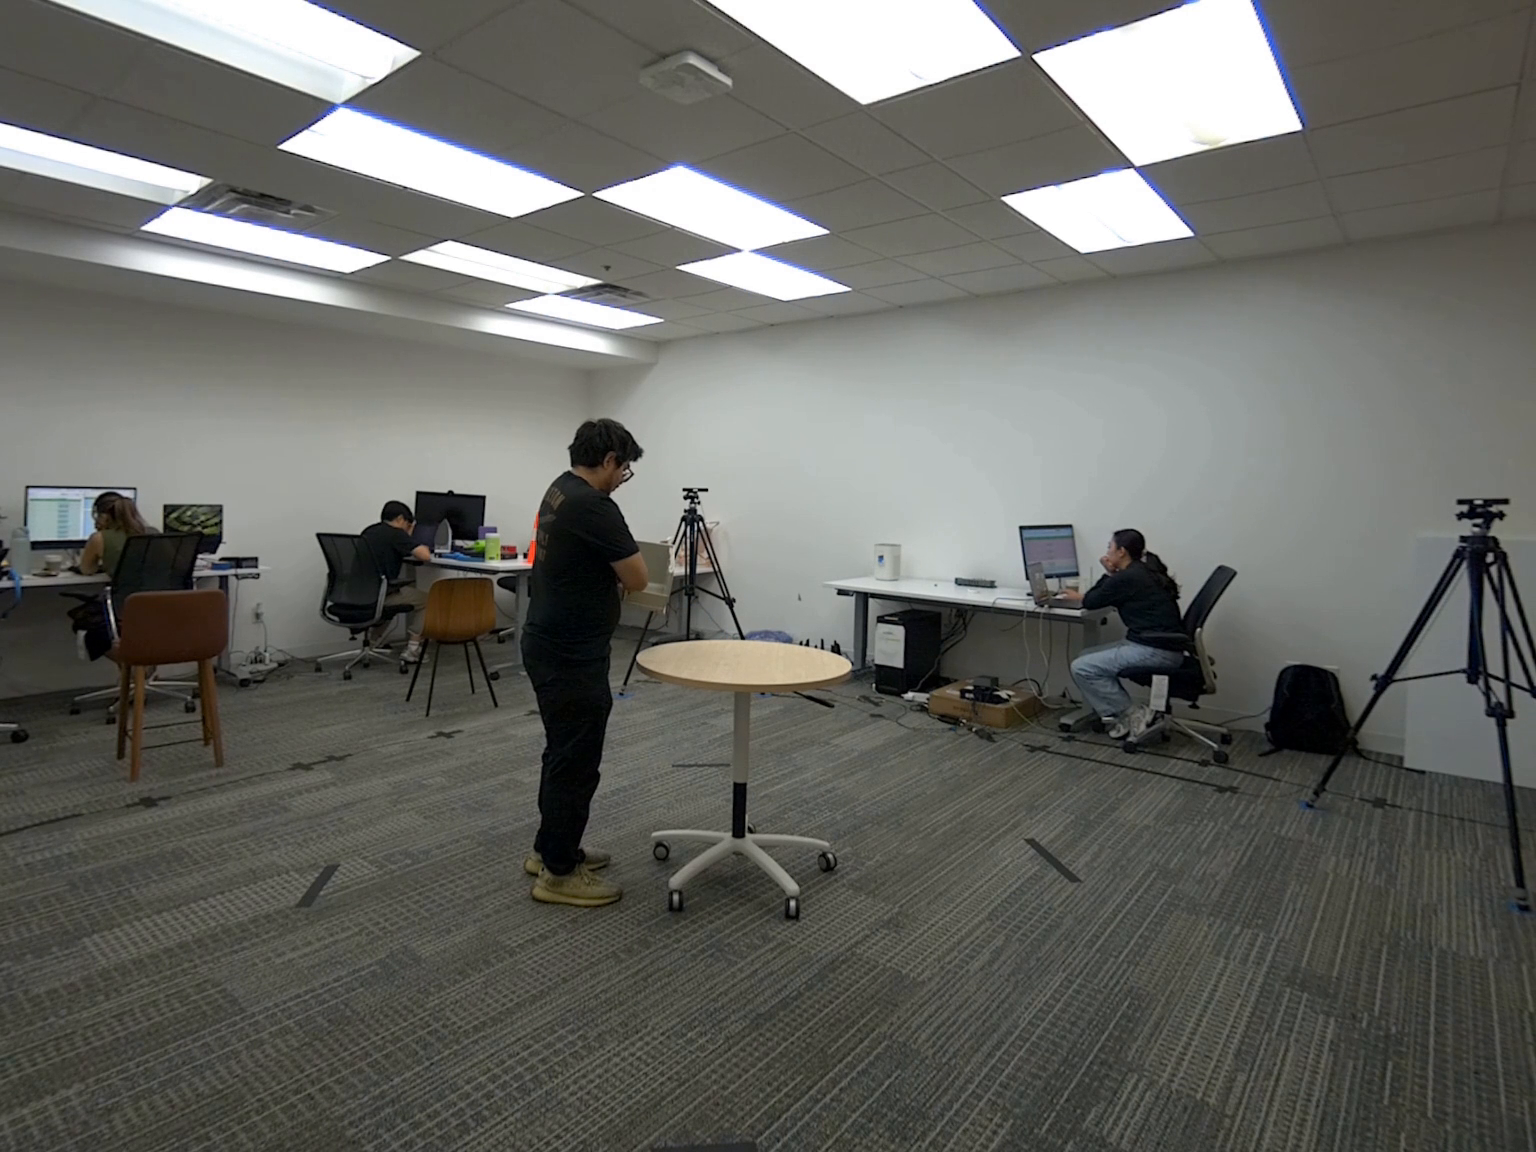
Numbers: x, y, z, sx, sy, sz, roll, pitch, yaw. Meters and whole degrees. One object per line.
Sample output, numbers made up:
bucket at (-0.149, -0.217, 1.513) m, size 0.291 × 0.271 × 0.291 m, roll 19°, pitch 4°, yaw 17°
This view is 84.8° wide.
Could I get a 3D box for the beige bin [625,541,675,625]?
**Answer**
beige bin at (-0.581, -0.017, 3.199) m, size 0.420 × 0.187 × 0.383 m, roll 7°, pitch 13°, yaw -5°
